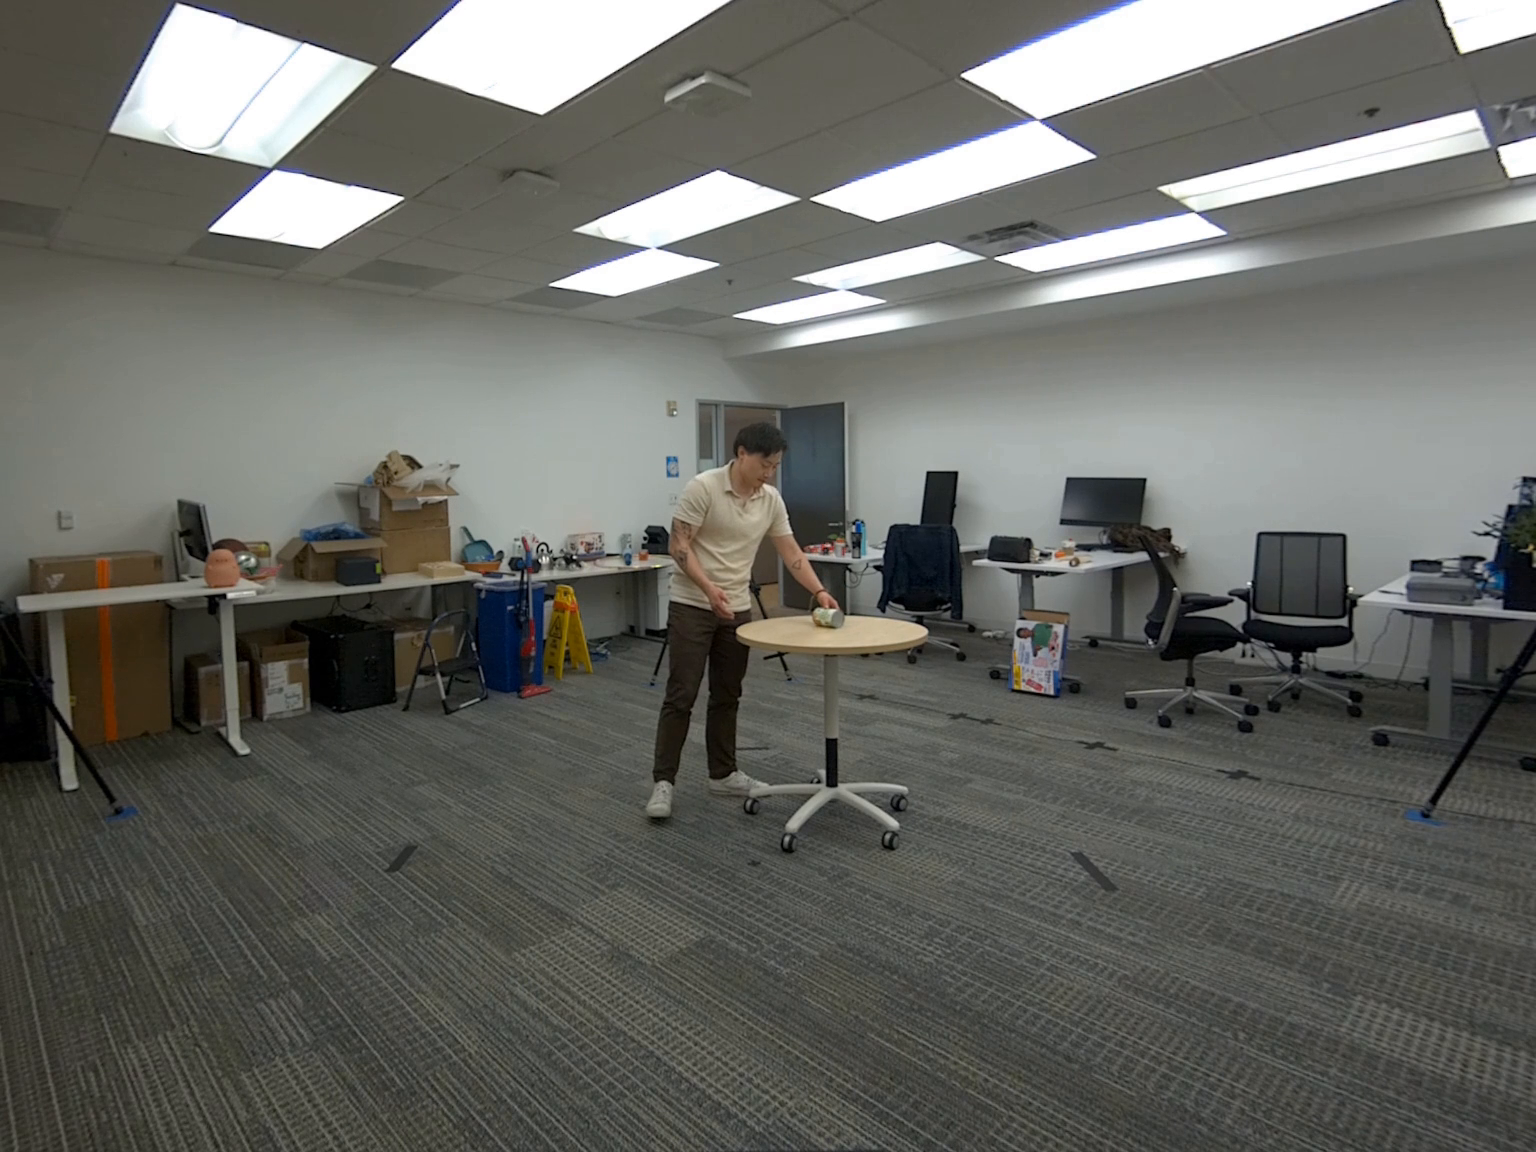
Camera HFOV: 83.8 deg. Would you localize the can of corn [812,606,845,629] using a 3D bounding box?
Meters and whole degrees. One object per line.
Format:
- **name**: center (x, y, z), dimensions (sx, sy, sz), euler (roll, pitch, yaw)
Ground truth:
- **can of corn**: center (0.251, 0.172, 3.526), dimensions (0.072, 0.074, 0.114), euler (-4, 6, -38)
